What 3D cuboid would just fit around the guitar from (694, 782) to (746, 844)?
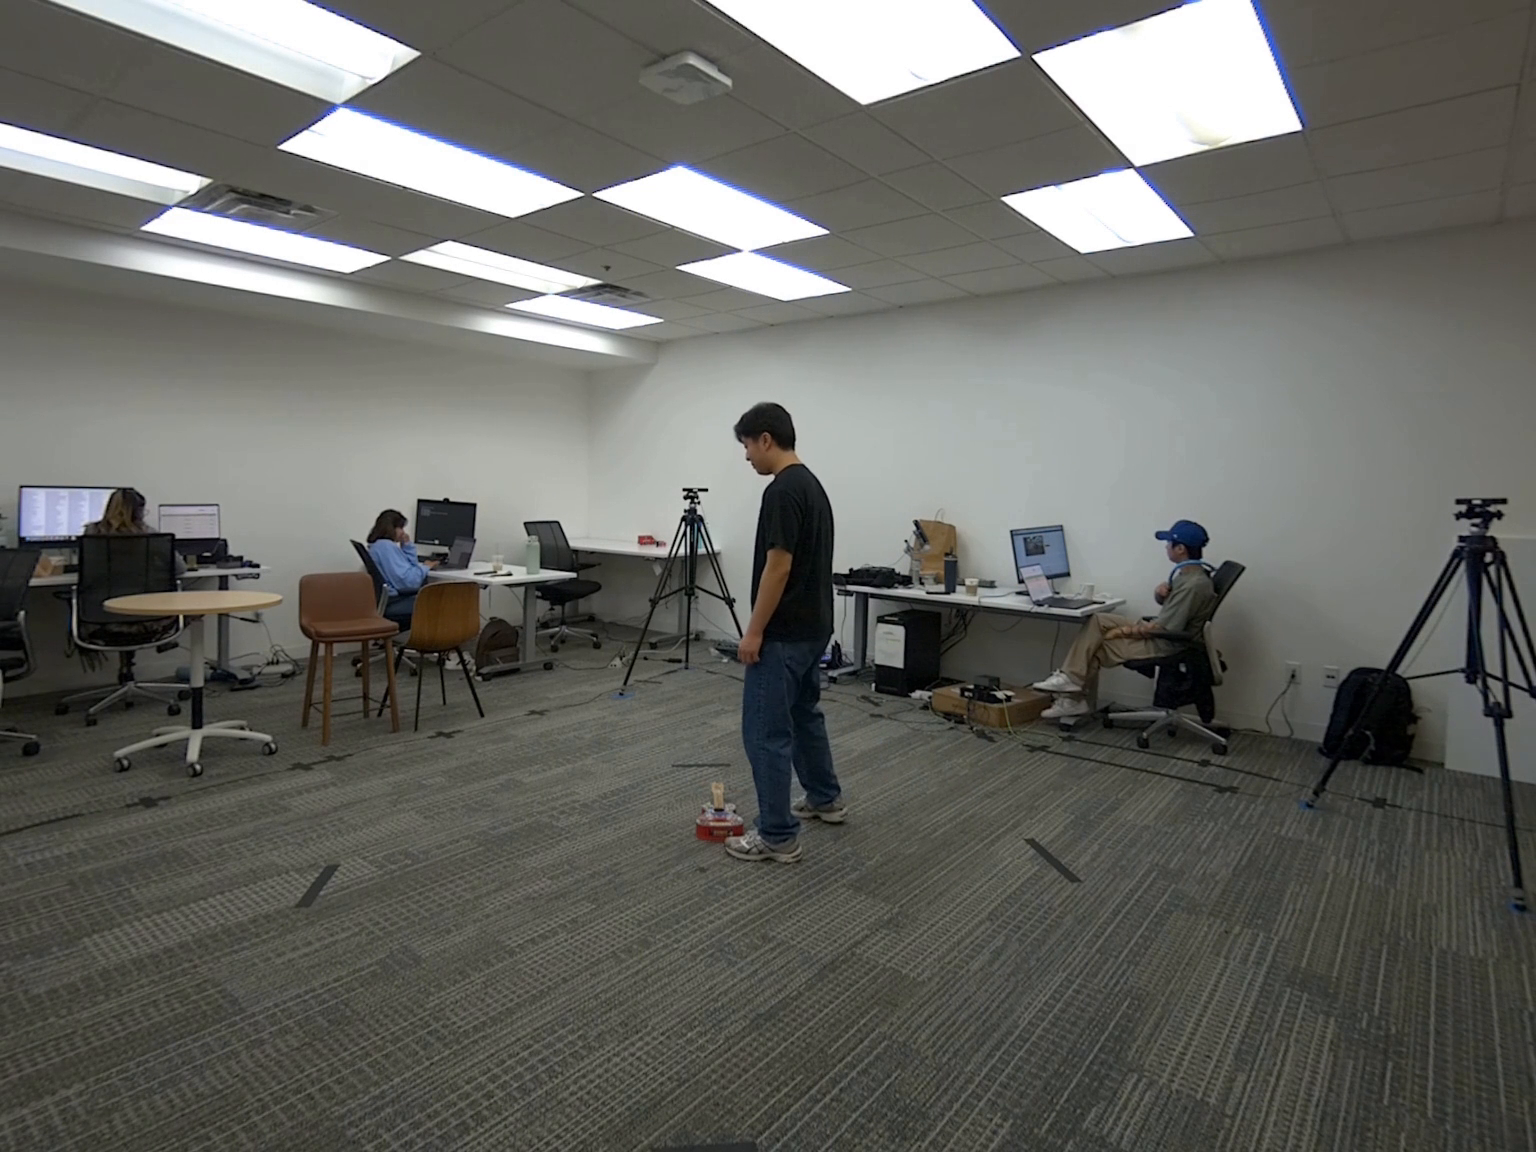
[{"bbox_3d":[-0.193,0.984,3.608,0.194,0.070,0.497,0,6,4],"label":"guitar"}]
